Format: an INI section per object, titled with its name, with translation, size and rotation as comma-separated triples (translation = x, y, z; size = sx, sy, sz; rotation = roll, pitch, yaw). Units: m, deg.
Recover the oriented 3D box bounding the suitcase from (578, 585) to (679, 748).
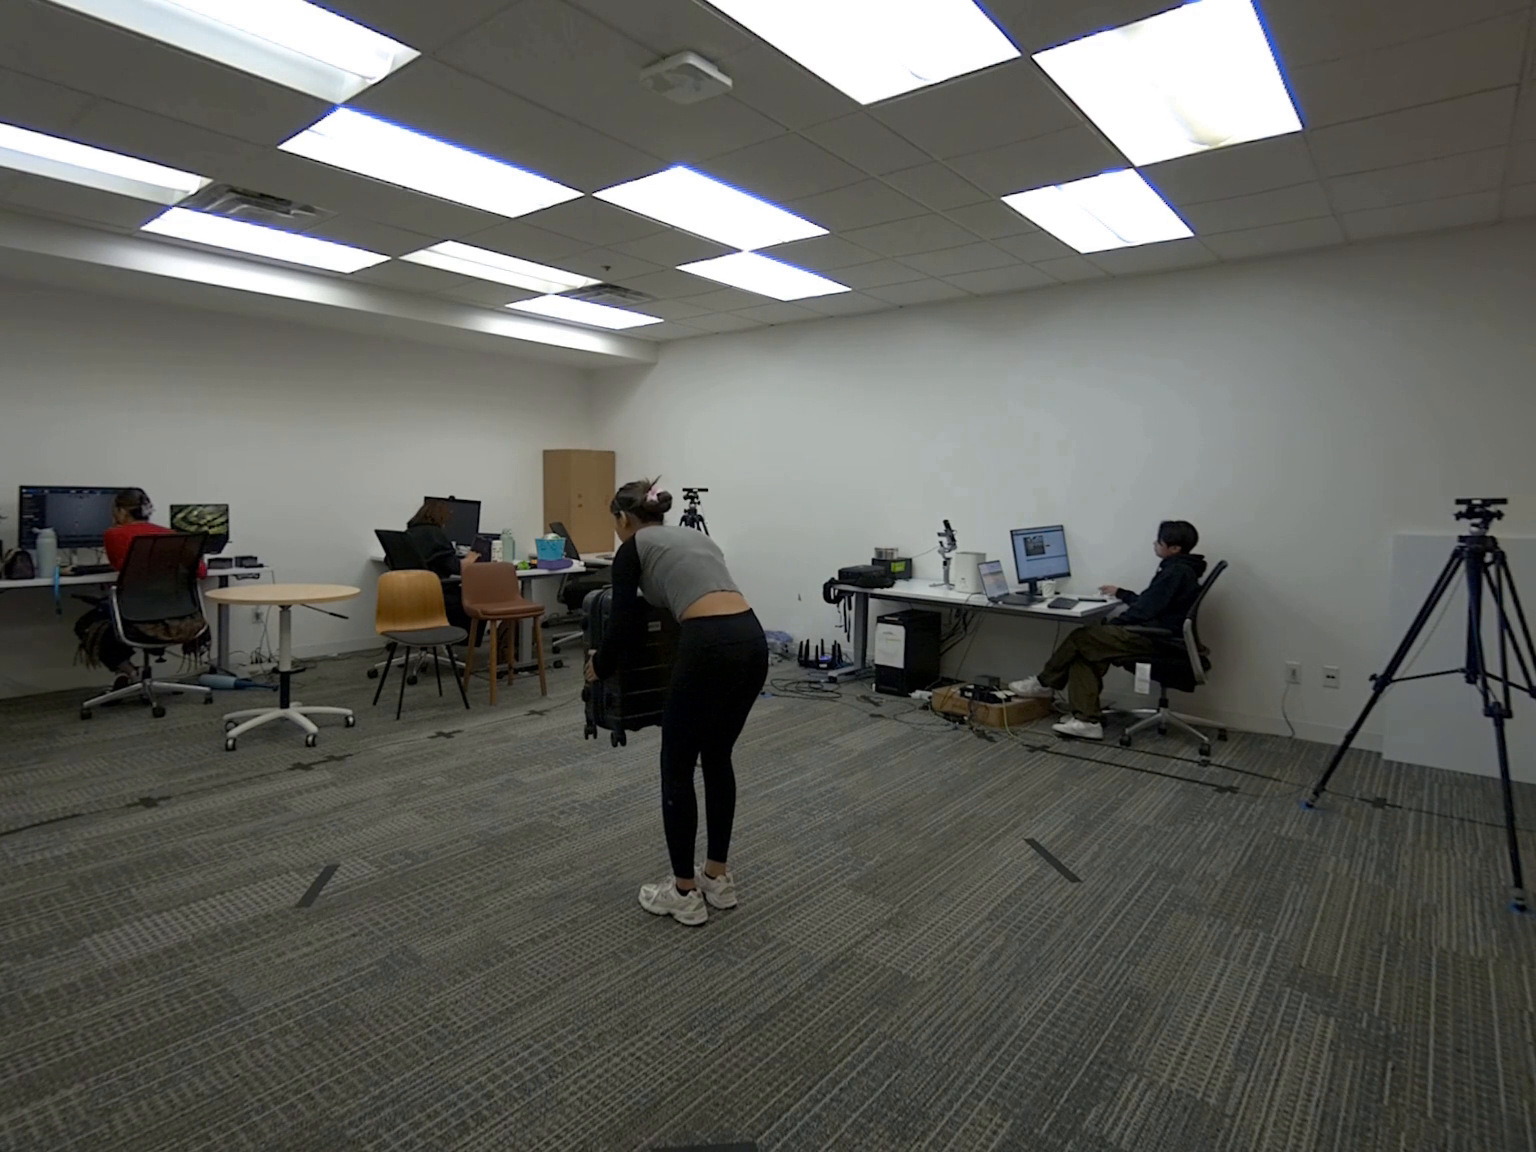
[suitcase]
translation = -0.485, 0.305, 3.097
size = 0.364, 0.549, 0.256
rotation = -3, 0, -40
